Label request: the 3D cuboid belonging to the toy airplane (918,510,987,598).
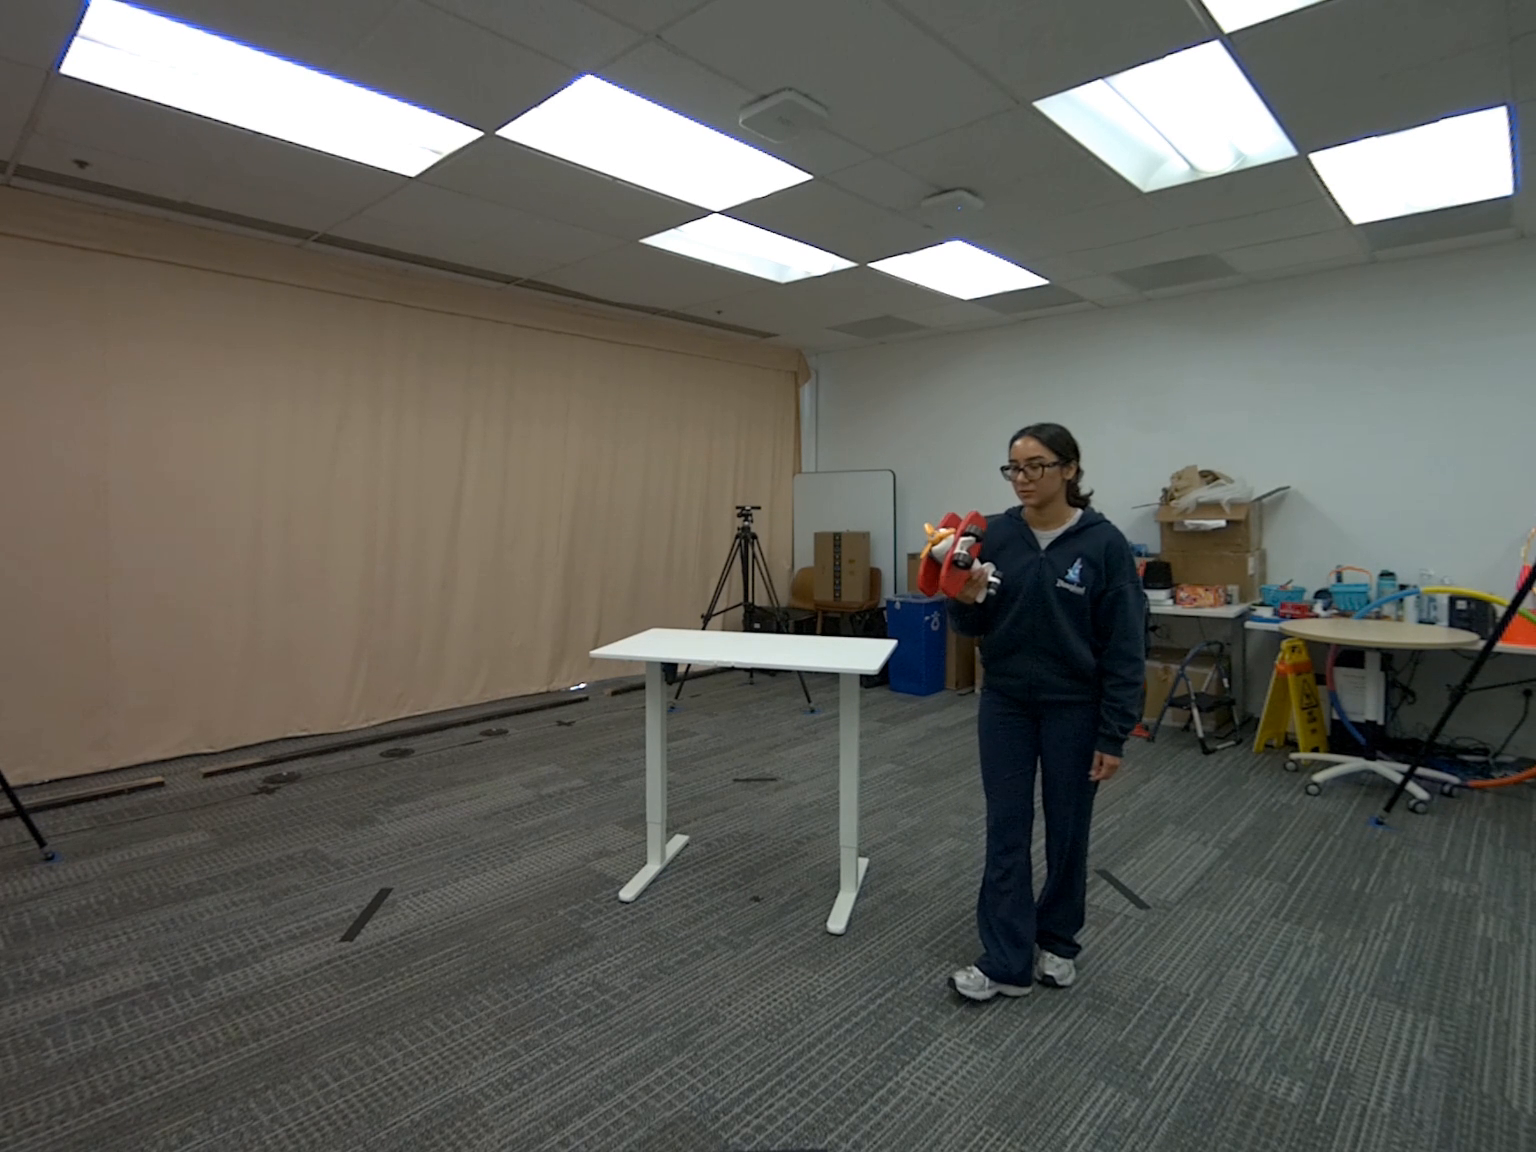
[{"bbox_3d":[0.537,-0.030,2.294,0.162,0.253,0.248,10,39,44],"label":"toy airplane"}]
